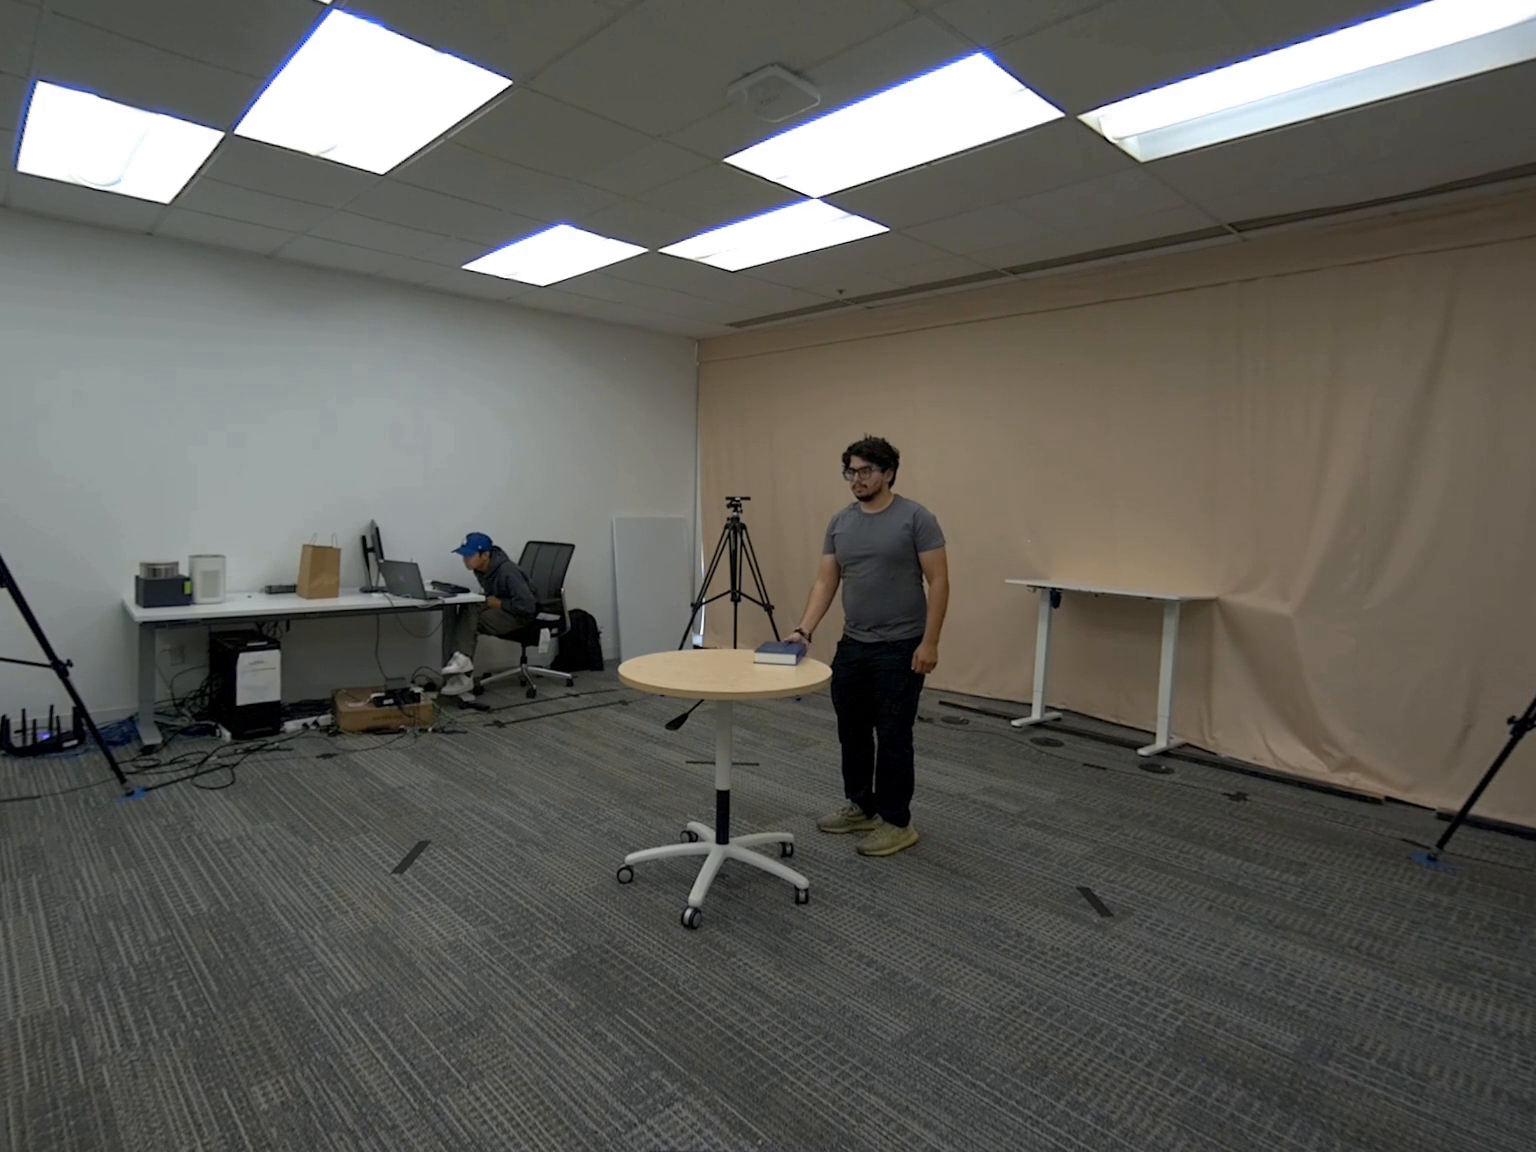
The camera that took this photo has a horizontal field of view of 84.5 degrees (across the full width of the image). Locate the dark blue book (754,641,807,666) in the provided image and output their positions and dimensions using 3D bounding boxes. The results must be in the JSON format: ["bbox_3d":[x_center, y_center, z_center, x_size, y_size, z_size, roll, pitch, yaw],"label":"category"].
[{"bbox_3d":[0.041,0.297,3.210,0.165,0.045,0.243,1,5,11],"label":"dark blue book"}]
